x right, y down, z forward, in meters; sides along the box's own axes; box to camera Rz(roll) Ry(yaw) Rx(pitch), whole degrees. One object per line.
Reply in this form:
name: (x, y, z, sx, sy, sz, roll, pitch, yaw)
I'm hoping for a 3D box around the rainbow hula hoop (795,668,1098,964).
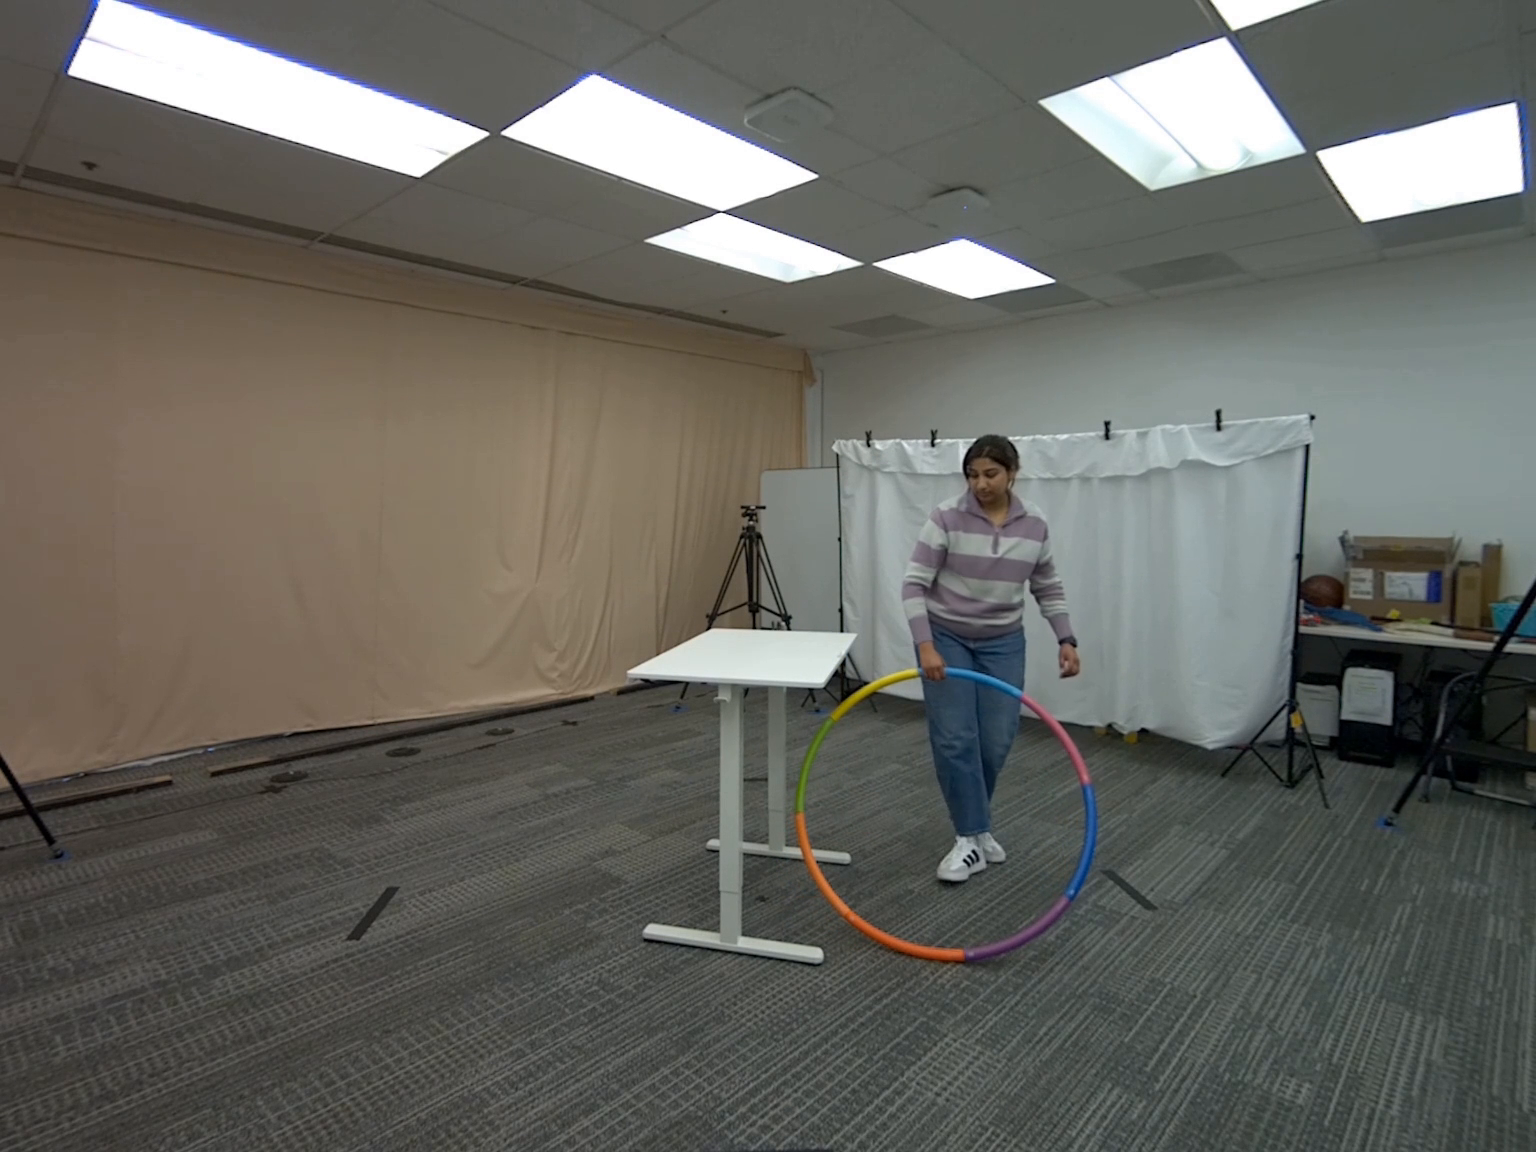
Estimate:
rainbow hula hoop: (0.581, 0.764, 2.834, 0.998, 0.988, 0.034, 1, -34, 18)
